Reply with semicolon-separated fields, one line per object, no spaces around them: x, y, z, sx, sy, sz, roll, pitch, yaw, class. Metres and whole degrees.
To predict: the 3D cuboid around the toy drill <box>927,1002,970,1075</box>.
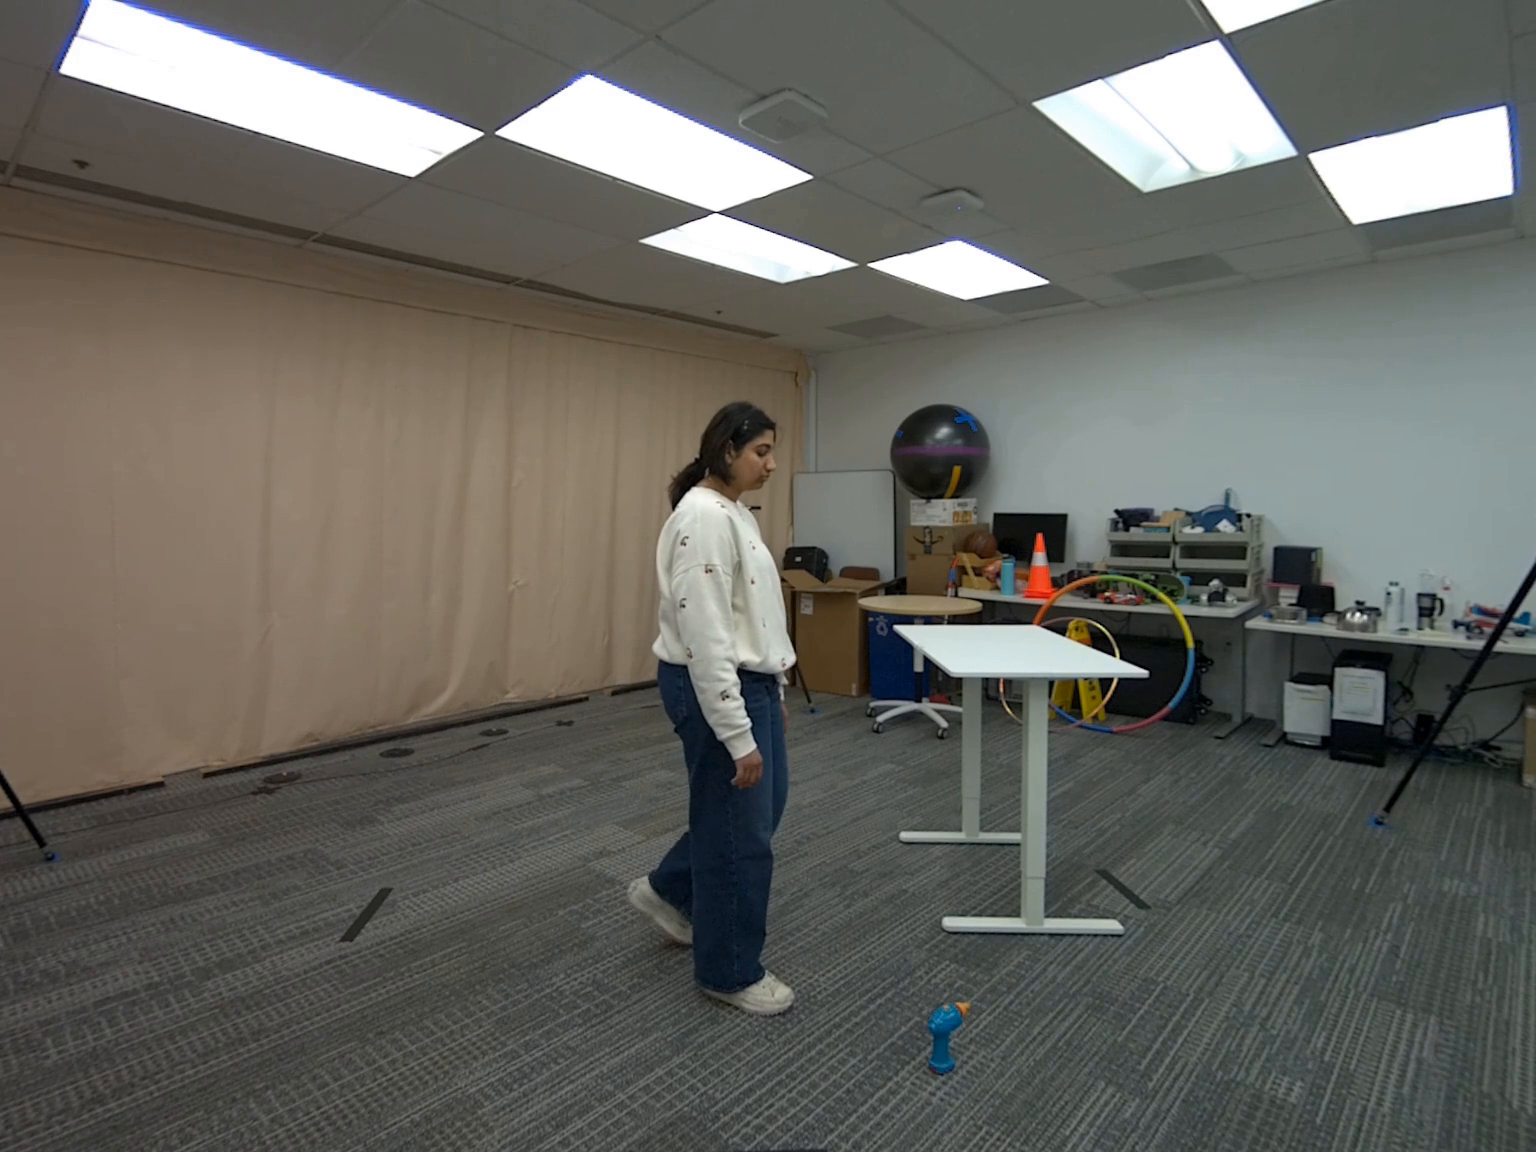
0.469;1.150;2.105;0.063;0.145;0.164;5;7;44;toy drill
